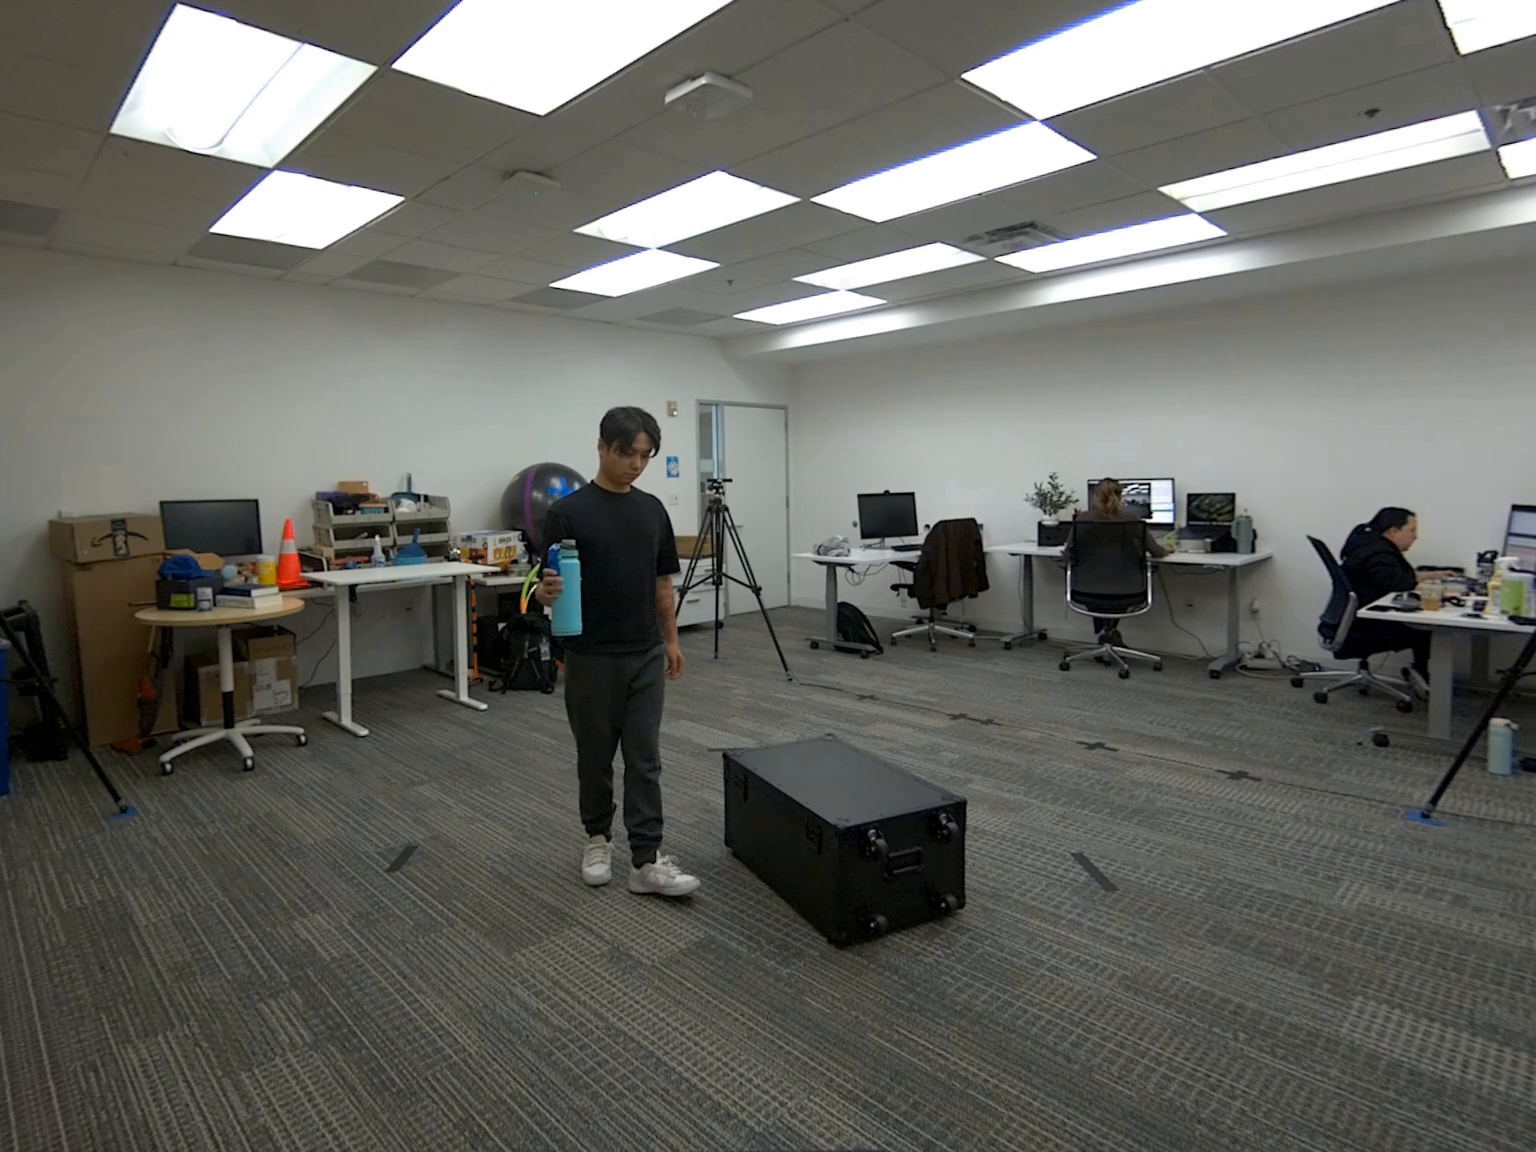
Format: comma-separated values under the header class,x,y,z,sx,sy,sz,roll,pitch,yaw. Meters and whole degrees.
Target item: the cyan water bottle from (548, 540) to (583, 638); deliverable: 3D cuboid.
class,x,y,z,sx,sy,sz,roll,pitch,yaw
cyan water bottle,-0.612,0.033,2.572,0.092,0.283,0.092,-2,0,-2
